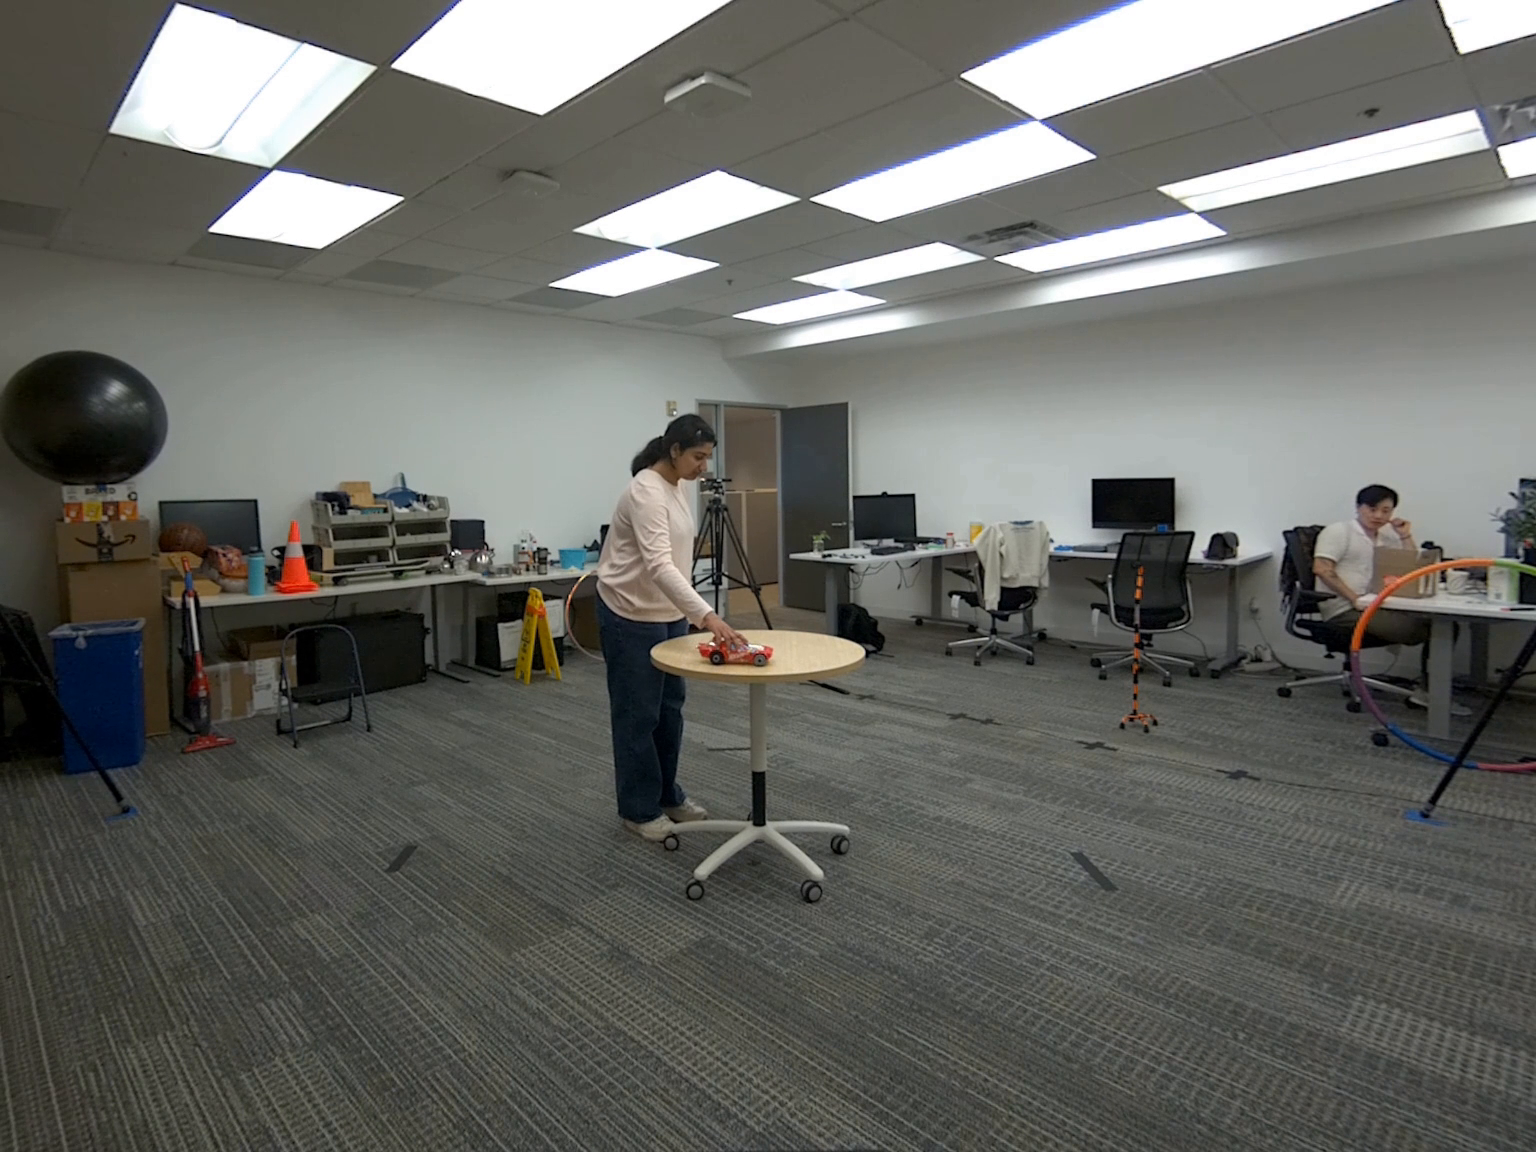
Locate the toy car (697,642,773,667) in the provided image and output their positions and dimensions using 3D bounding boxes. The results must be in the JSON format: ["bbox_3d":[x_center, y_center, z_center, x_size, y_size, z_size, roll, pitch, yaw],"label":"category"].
[{"bbox_3d":[-0.109,0.256,2.867,0.256,0.083,0.130,10,7,6],"label":"toy car"}]
